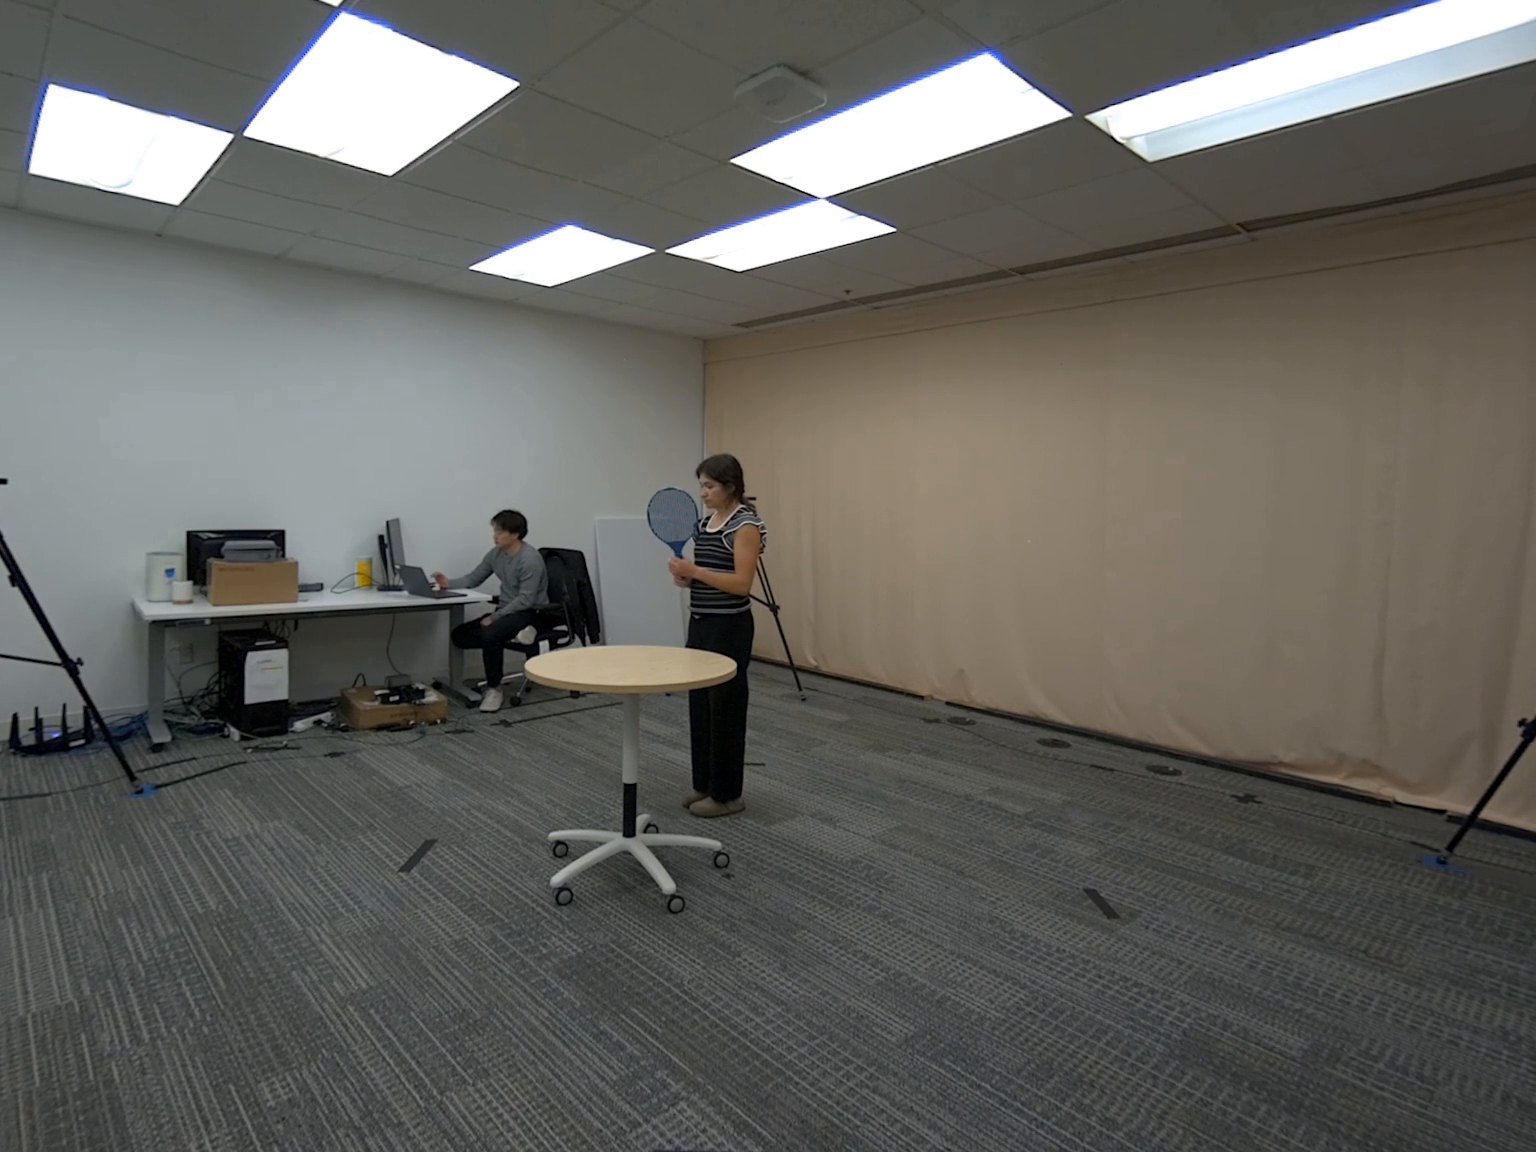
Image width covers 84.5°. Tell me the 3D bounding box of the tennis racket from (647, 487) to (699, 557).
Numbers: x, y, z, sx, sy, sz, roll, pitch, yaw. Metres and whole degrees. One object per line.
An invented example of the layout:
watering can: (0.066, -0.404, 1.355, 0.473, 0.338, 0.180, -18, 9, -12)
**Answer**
tennis racket: (-0.386, -0.177, 3.551, 0.214, 0.423, 0.032, -9, 29, 2)
